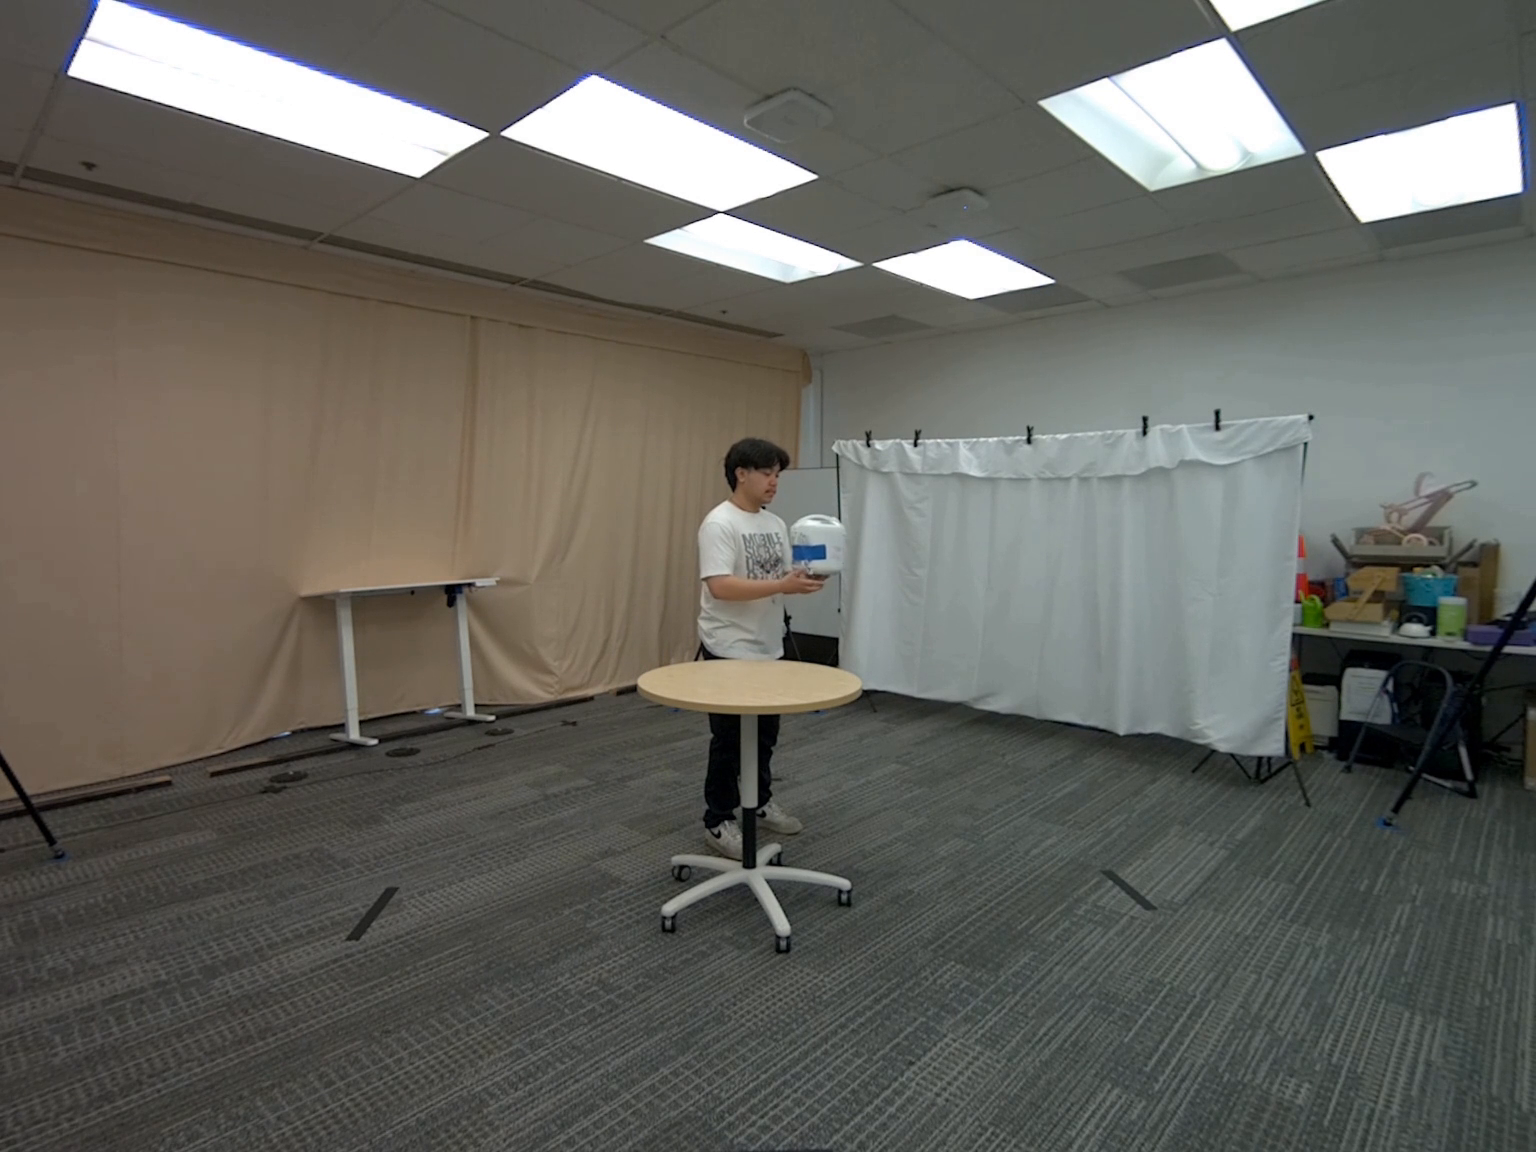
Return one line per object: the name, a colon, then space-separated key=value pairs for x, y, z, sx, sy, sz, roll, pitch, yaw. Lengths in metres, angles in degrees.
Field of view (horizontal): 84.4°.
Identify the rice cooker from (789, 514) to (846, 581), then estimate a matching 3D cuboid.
rice cooker: x=0.195 y=-0.123 z=3.295 sx=0.217 sy=0.232 sz=0.221 roll=3 pitch=2 yaw=-14
